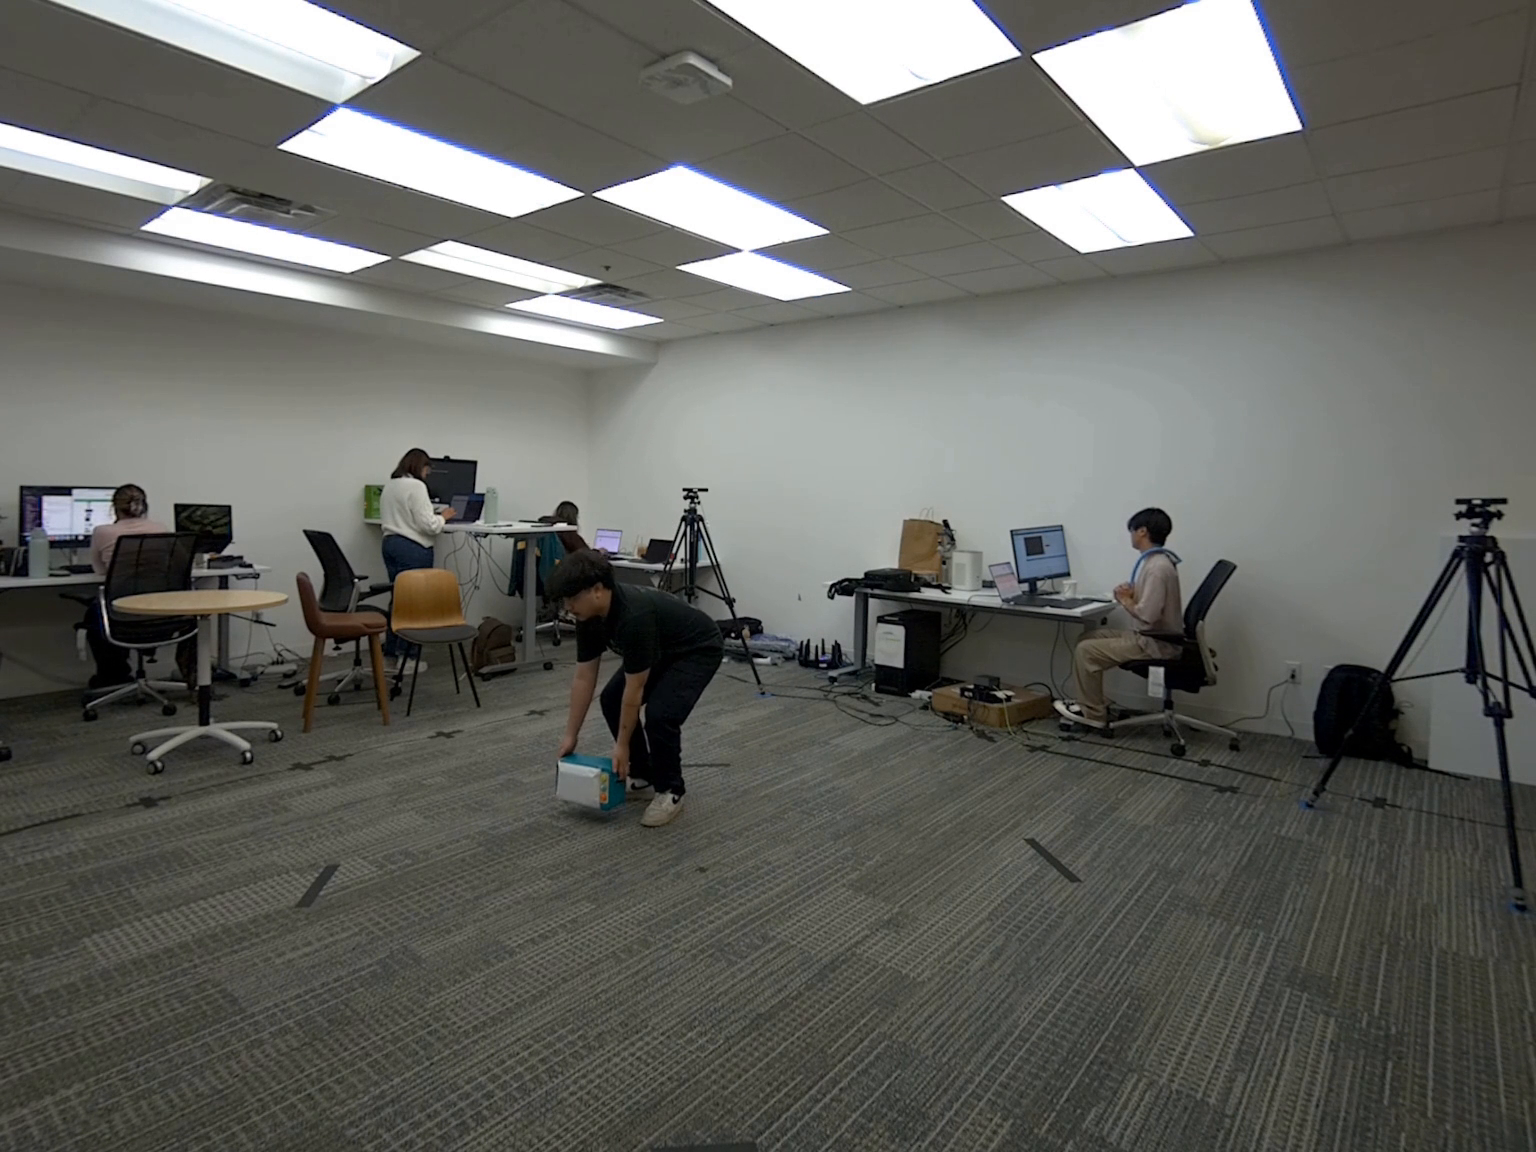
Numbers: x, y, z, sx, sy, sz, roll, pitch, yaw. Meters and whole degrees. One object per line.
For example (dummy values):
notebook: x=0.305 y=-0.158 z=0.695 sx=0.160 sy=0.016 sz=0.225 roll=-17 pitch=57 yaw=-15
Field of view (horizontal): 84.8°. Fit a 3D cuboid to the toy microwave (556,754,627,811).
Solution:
toy microwave: x=-0.764 y=0.854 z=3.590 sx=0.293 sy=0.184 sz=0.148 roll=3 pitch=0 yaw=23
